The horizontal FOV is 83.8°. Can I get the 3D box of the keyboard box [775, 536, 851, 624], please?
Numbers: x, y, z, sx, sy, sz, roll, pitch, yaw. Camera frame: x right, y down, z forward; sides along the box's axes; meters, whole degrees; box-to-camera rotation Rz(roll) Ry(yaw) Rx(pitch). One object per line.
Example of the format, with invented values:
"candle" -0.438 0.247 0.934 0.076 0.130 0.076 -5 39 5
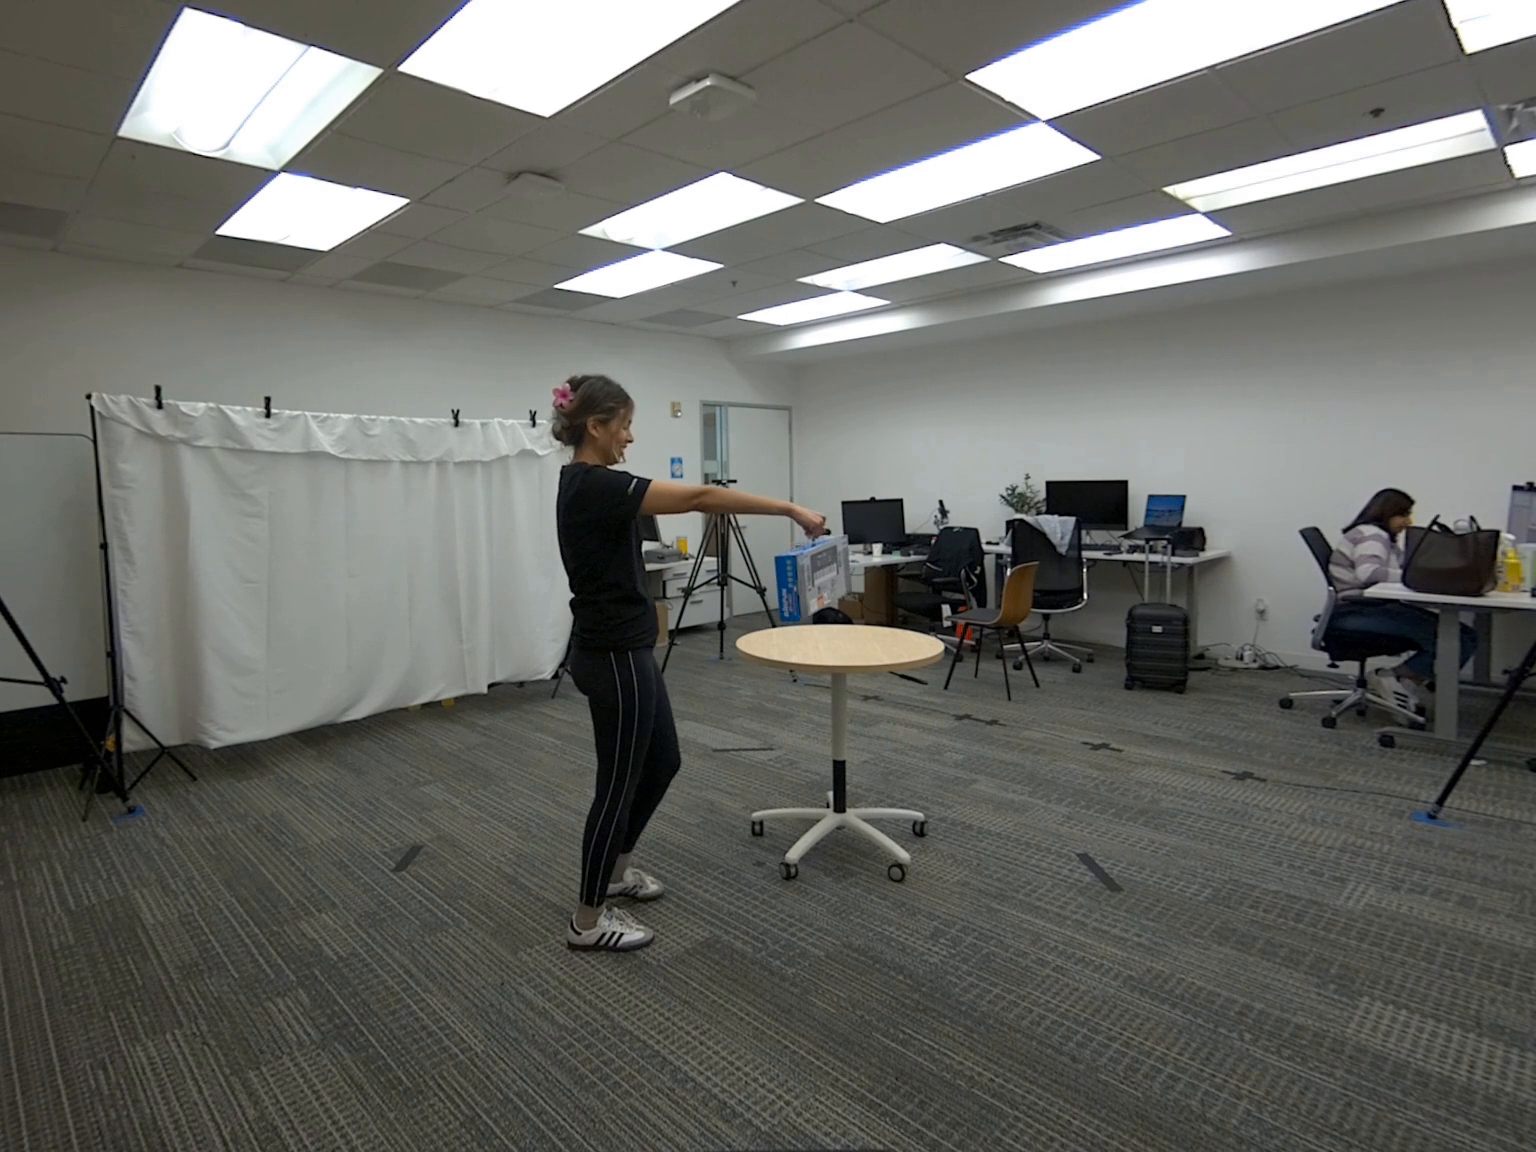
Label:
"keyboard box" 0.134 0.001 2.377 0.060 0.175 0.430 -3 7 24
